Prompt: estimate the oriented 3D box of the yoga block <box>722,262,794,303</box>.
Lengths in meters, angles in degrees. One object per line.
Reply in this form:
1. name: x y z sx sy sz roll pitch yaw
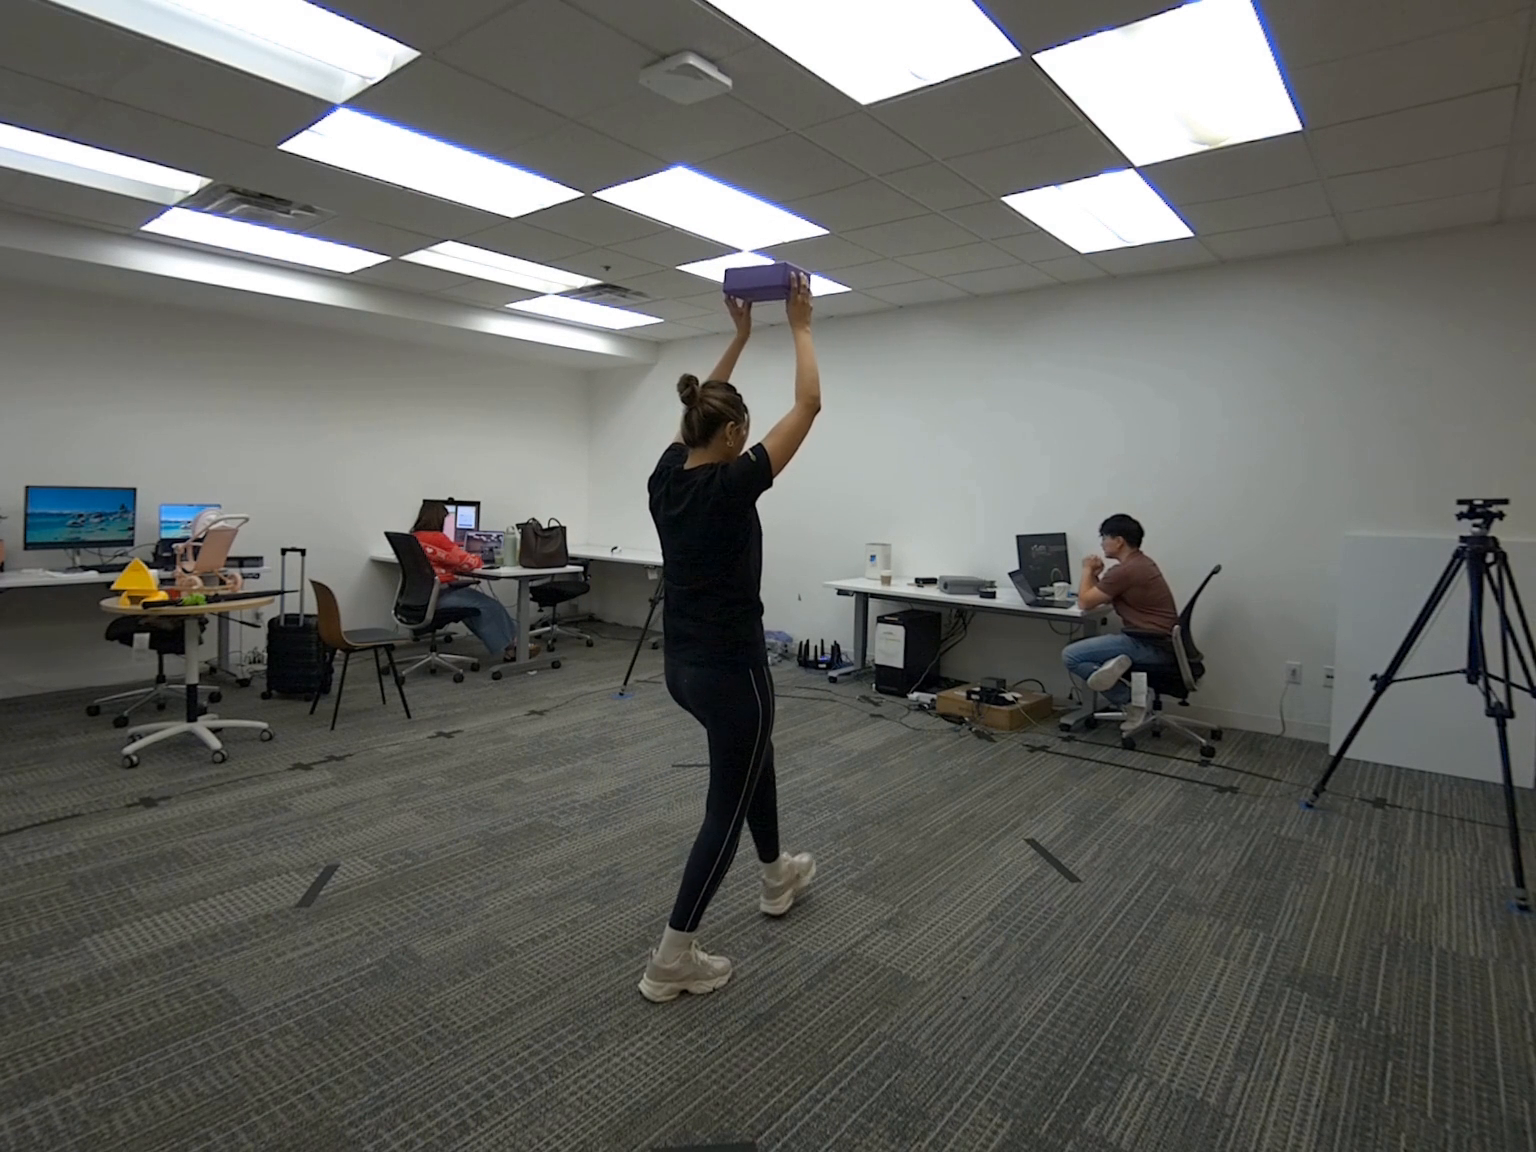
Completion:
1. yoga block: -0.005 -0.874 2.536 0.237 0.076 0.144 9 3 37
